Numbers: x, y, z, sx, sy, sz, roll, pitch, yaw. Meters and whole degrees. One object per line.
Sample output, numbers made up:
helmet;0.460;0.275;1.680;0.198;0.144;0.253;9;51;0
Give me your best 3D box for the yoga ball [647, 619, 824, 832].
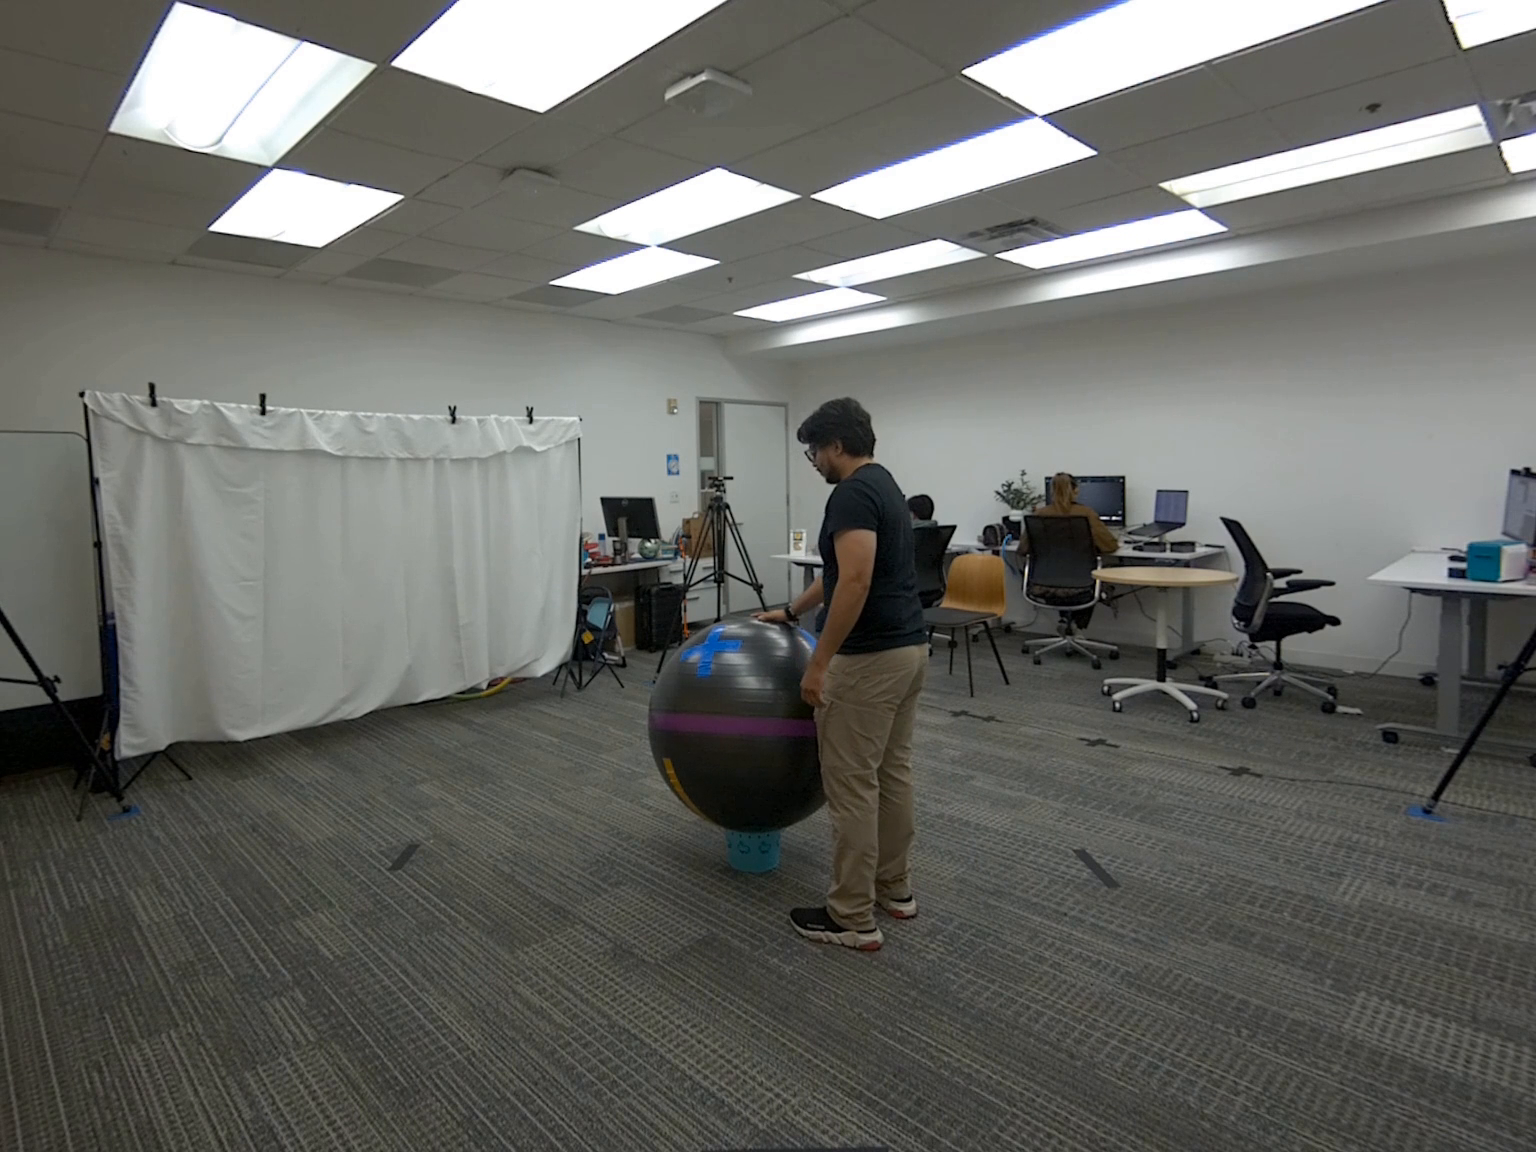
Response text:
yoga ball;-0.056;0.528;3.095;0.757;0.755;0.762;-1;5;-2
